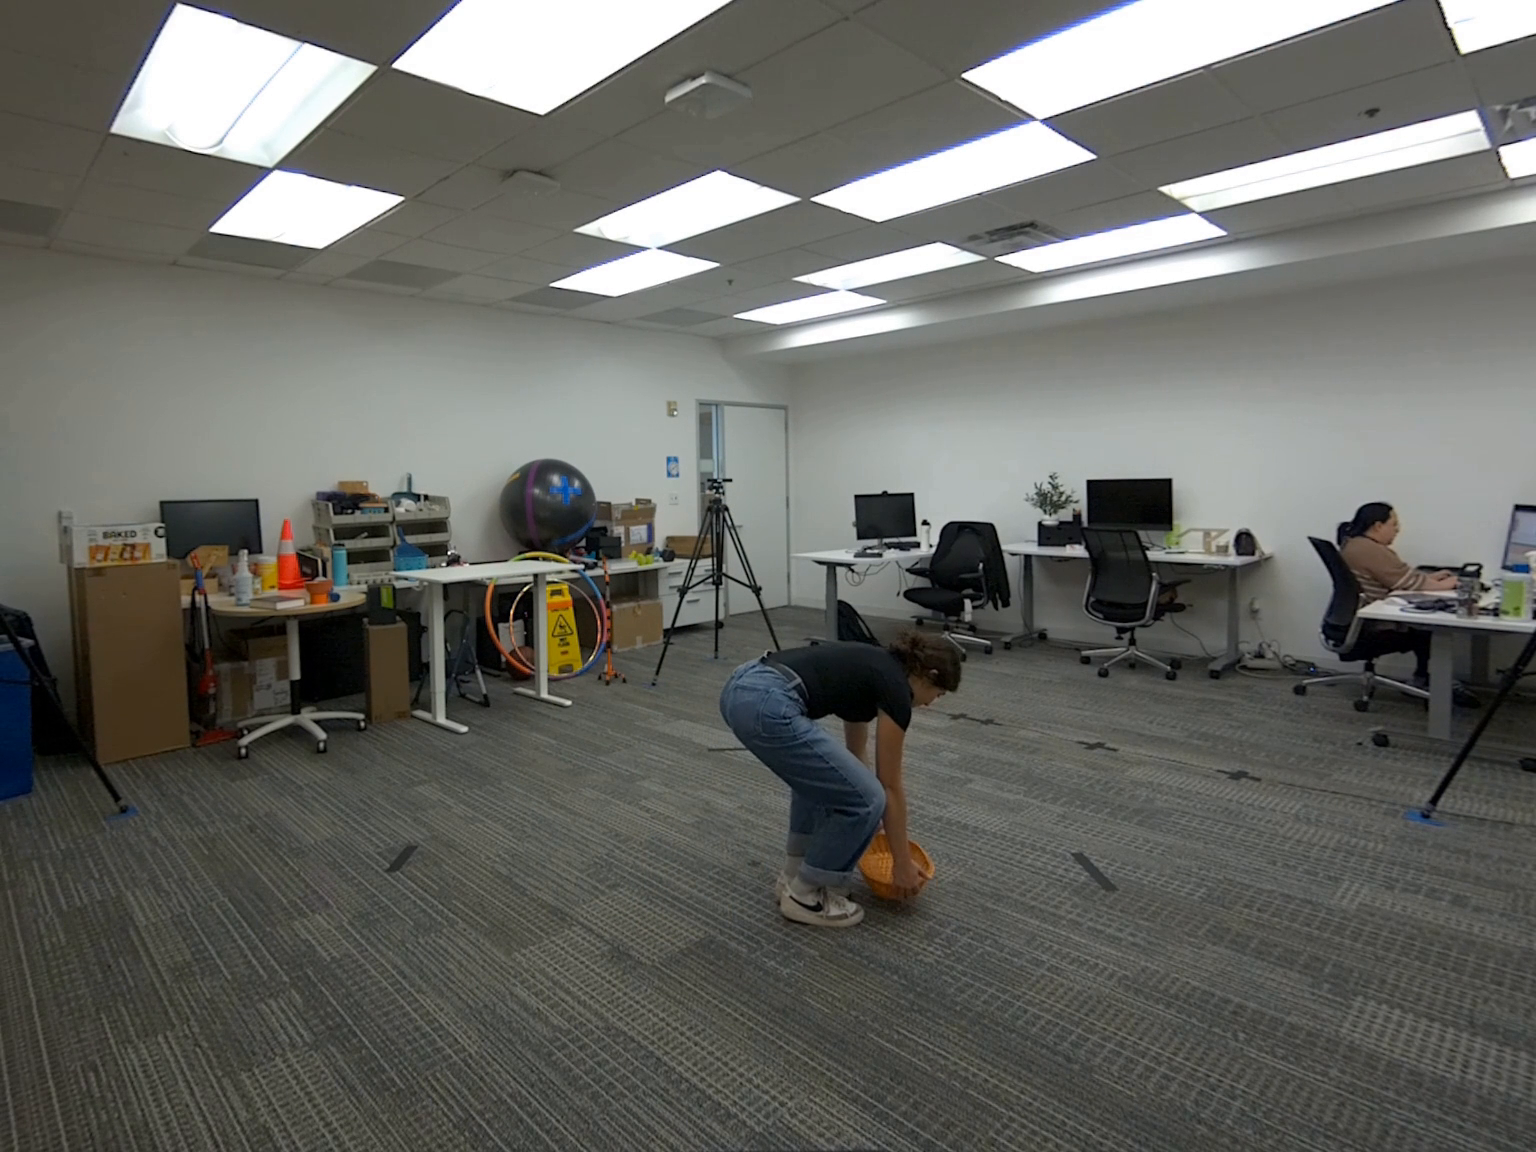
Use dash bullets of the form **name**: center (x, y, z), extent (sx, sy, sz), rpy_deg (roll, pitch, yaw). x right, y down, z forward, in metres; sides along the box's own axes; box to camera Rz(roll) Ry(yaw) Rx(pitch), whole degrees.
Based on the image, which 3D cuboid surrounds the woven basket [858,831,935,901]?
- **woven basket**: center (0.397, 0.969, 2.856), extent (0.250, 0.073, 0.356), rpy_deg (-2, 10, -10)
